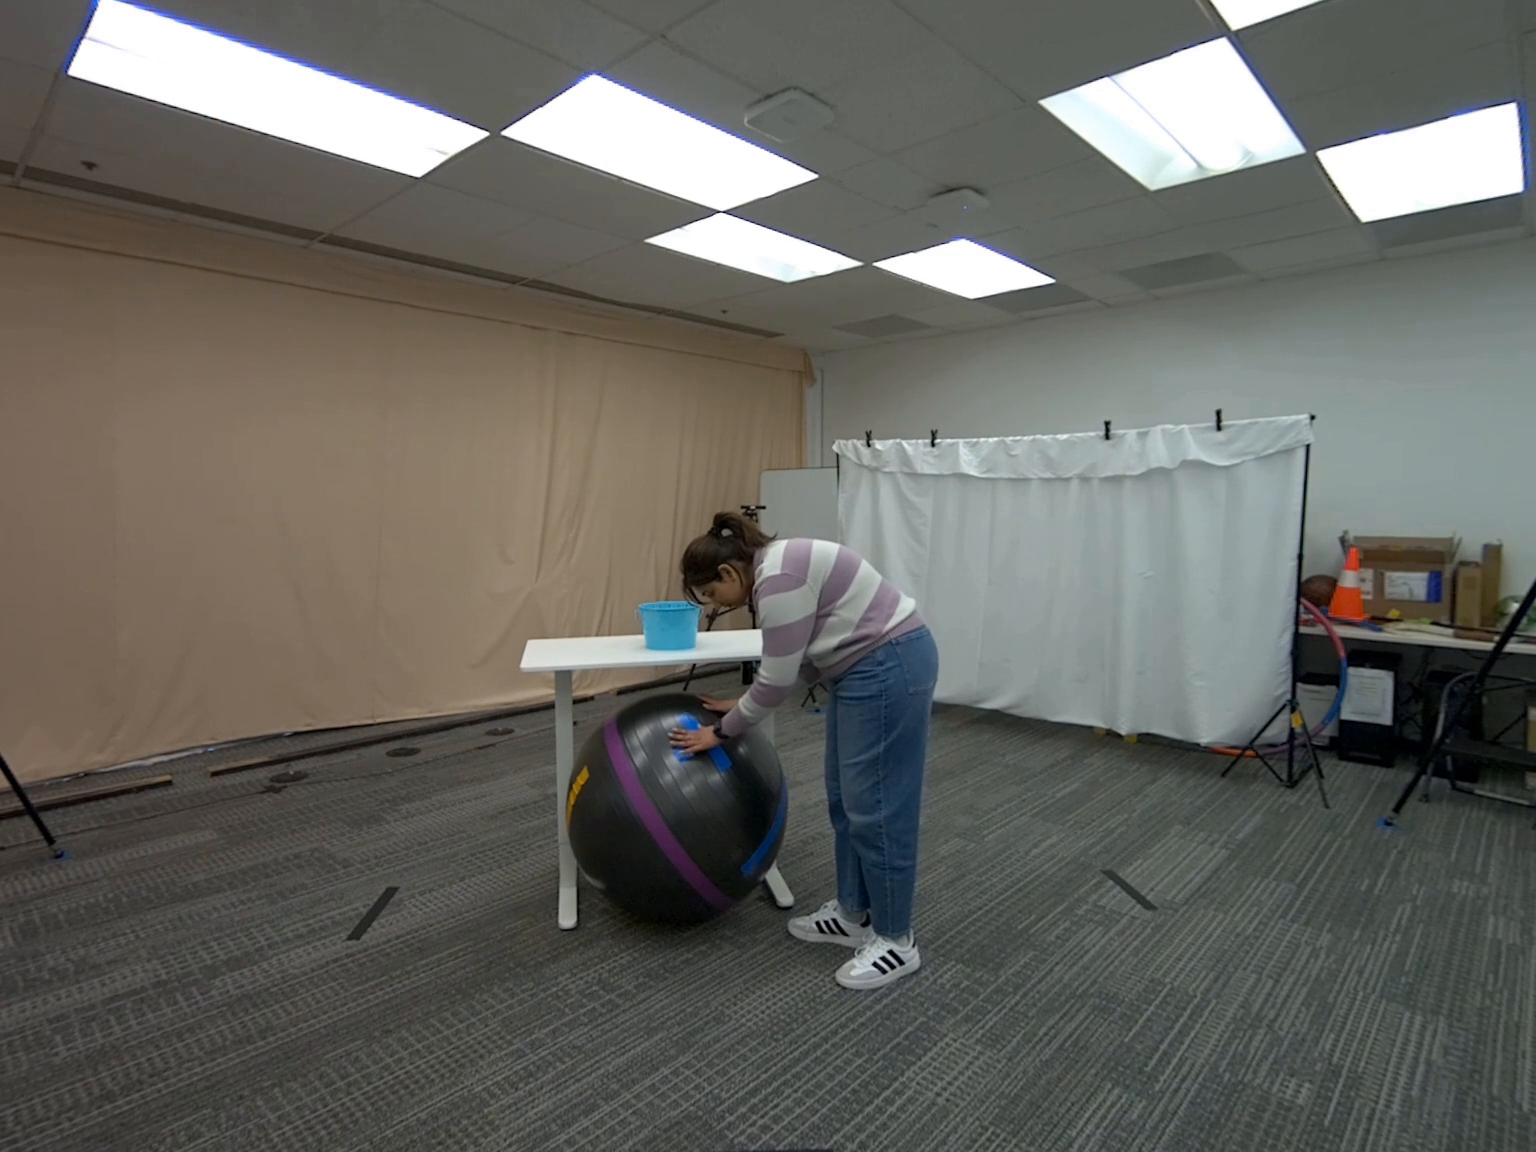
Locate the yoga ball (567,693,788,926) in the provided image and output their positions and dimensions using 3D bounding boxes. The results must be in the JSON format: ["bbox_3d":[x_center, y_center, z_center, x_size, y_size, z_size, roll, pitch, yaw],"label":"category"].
[{"bbox_3d":[-0.321,0.786,2.892,0.757,0.756,0.760,0,4,-2],"label":"yoga ball"}]
